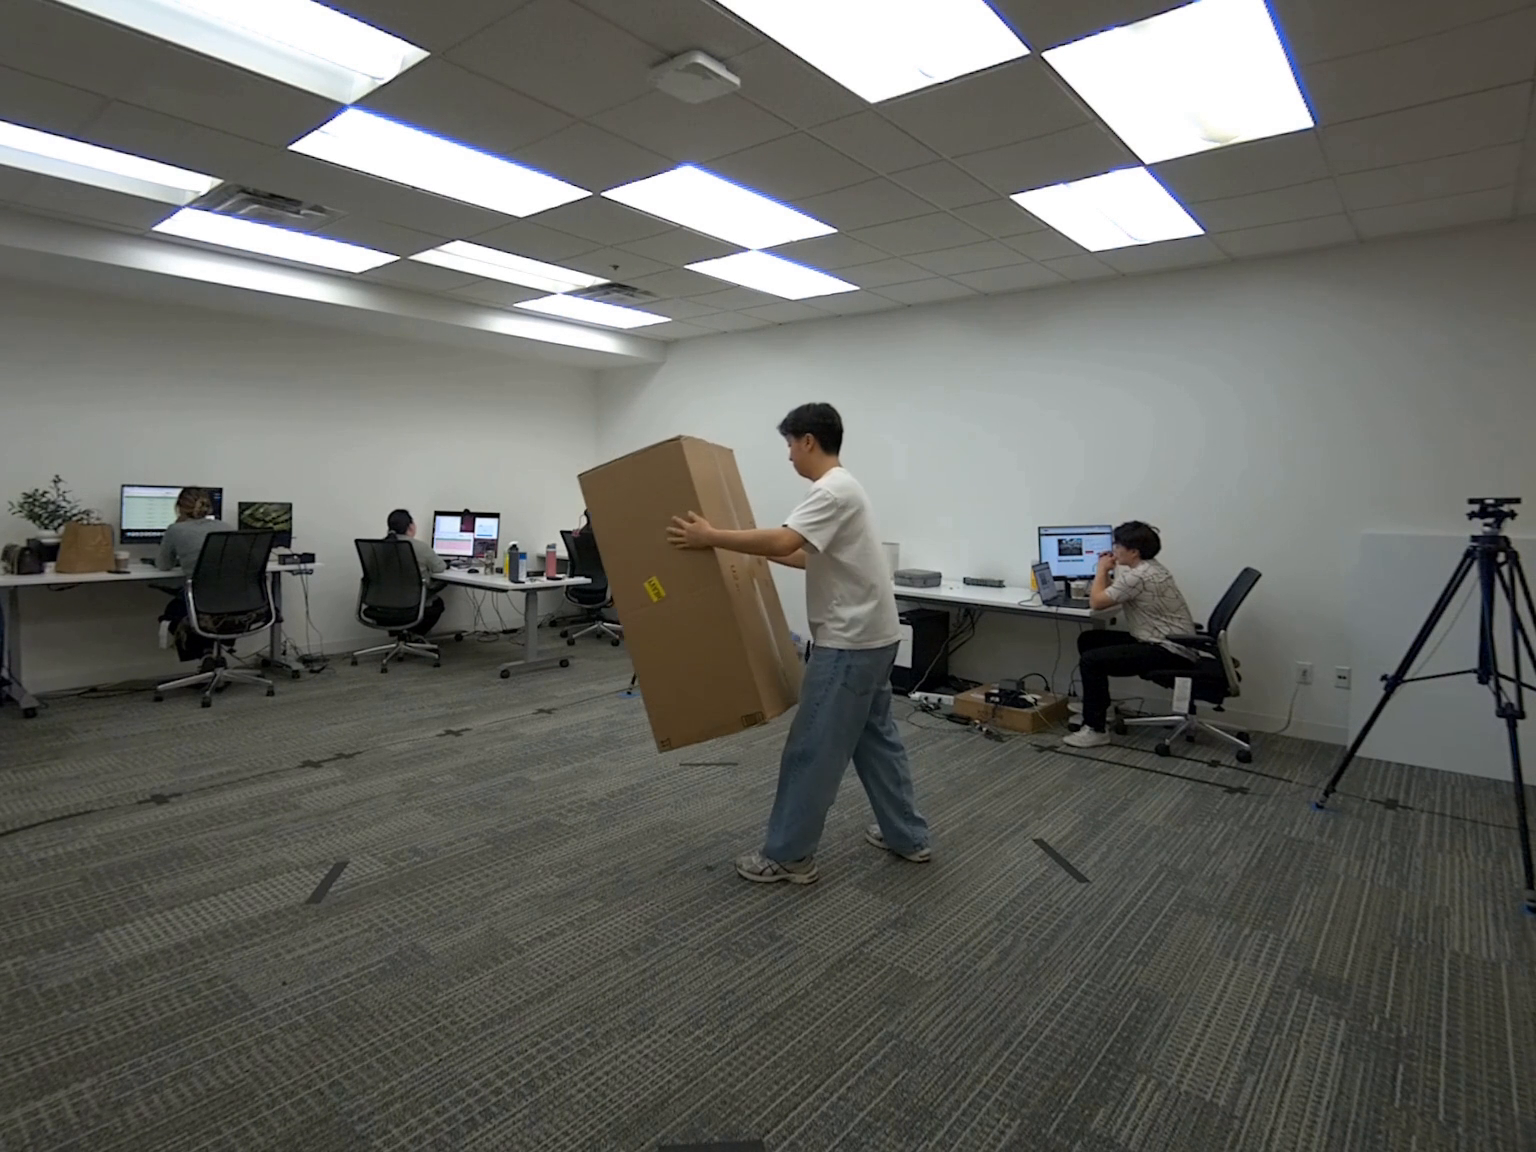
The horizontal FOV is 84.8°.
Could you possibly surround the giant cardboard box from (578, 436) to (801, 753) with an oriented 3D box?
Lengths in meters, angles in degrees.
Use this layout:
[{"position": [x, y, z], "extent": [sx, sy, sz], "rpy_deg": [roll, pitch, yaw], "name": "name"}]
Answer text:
[{"position": [-0.272, 0.054, 3.190], "extent": [0.431, 1.033, 0.567], "rpy_deg": [-19, -5, 17], "name": "giant cardboard box"}]
